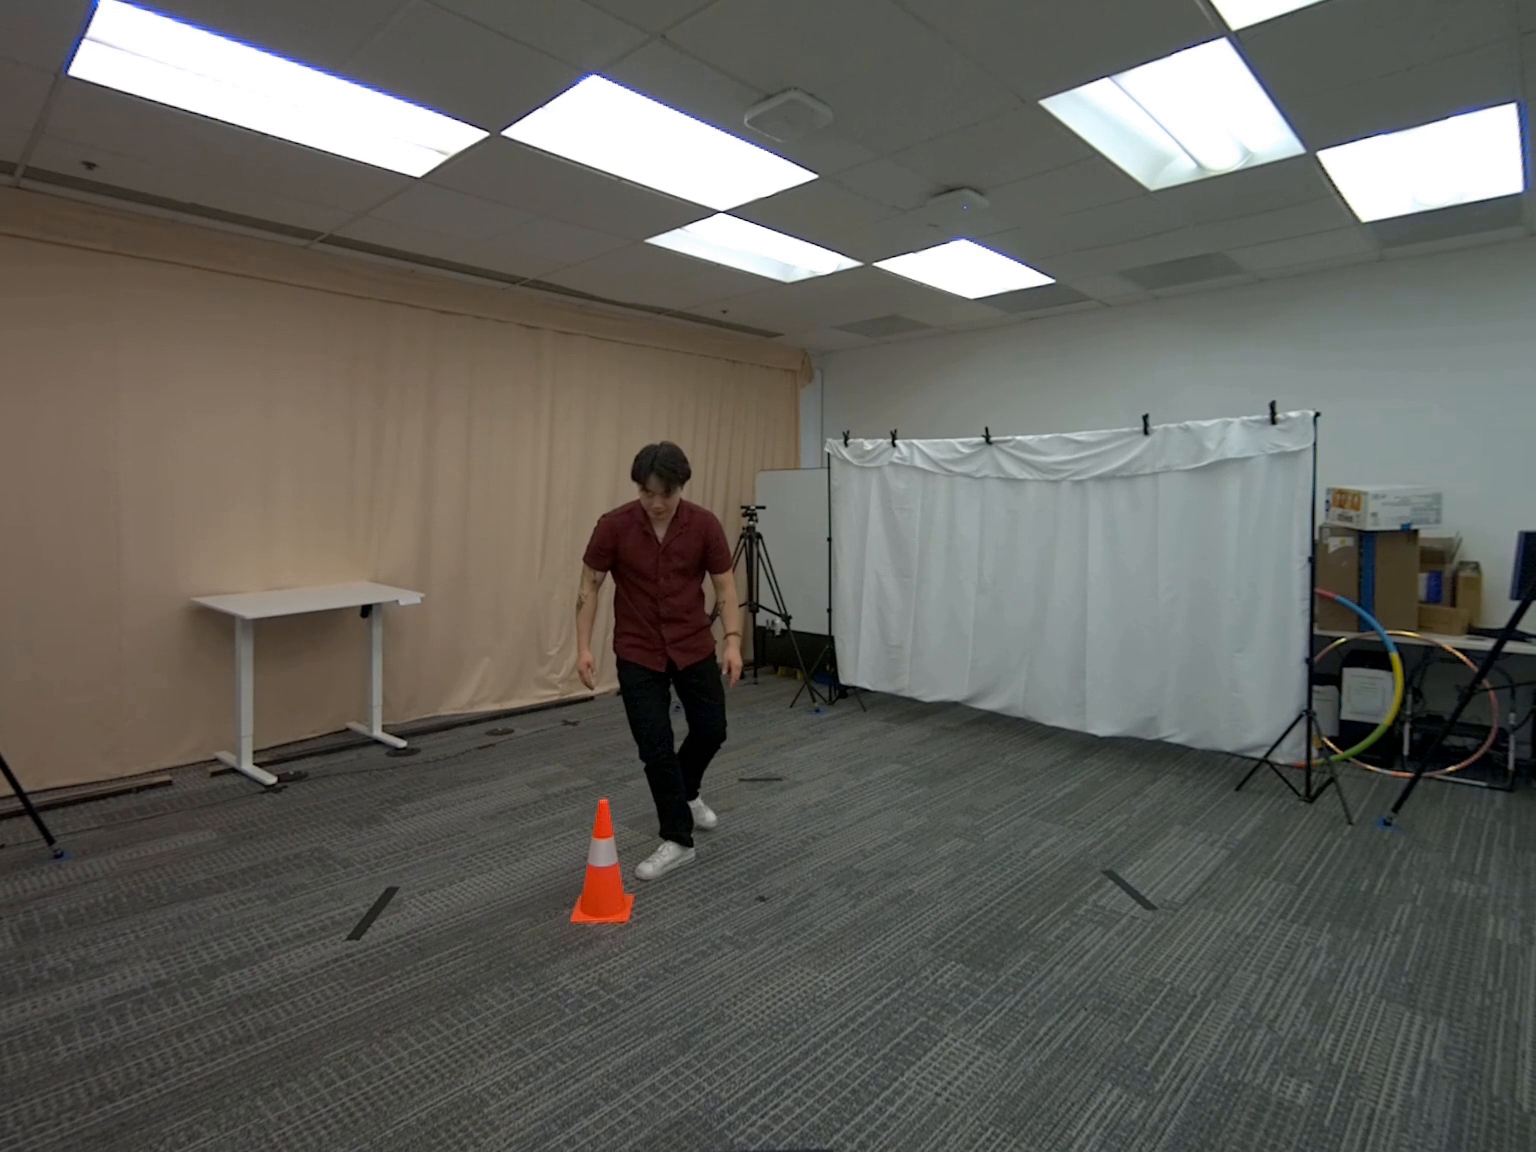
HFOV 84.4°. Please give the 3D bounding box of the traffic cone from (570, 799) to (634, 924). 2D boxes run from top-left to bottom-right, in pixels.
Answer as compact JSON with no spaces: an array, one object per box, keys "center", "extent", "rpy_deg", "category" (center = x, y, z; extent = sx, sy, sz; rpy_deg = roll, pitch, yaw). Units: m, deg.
[{"center":[-0.583,0.970,2.914],"extent":[0.205,0.383,0.203],"rpy_deg":[-2,2,1],"category":"traffic cone"}]
